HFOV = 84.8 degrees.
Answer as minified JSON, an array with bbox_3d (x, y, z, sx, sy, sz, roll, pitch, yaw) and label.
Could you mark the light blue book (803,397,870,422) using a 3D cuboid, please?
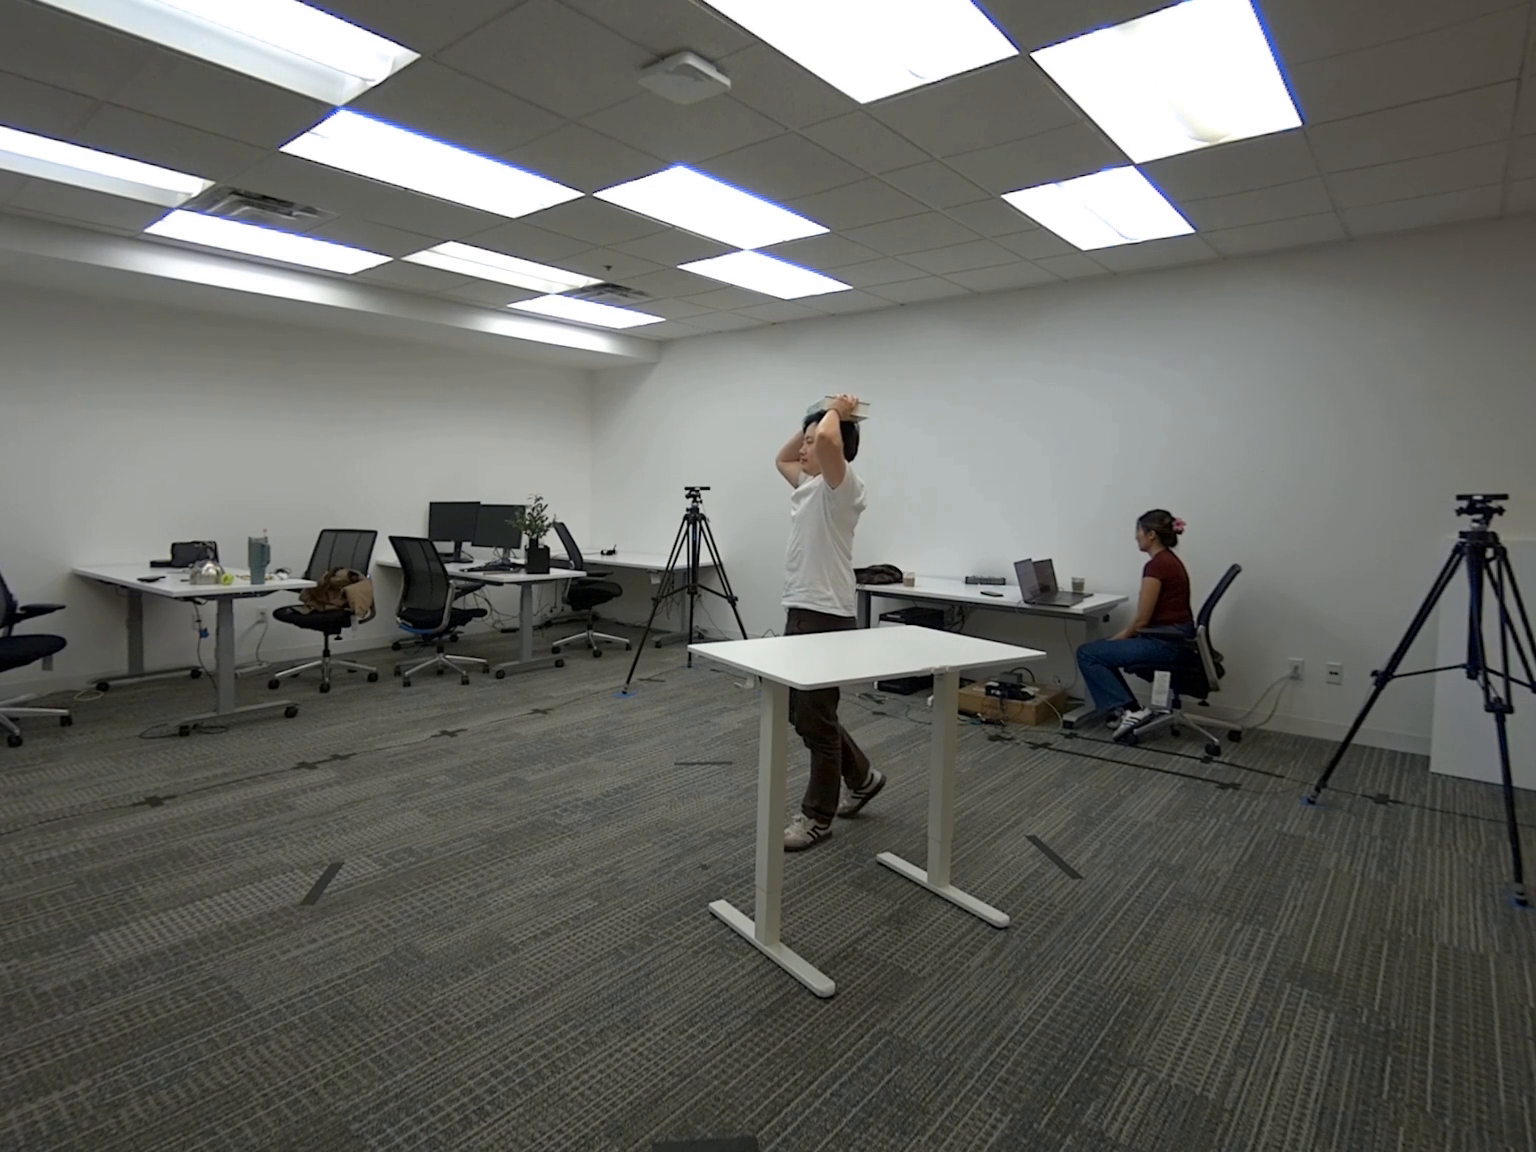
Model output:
[{"bbox_3d":[0.264,-0.662,3.386,0.189,0.059,0.264,11,-1,-11],"label":"light blue book"}]
